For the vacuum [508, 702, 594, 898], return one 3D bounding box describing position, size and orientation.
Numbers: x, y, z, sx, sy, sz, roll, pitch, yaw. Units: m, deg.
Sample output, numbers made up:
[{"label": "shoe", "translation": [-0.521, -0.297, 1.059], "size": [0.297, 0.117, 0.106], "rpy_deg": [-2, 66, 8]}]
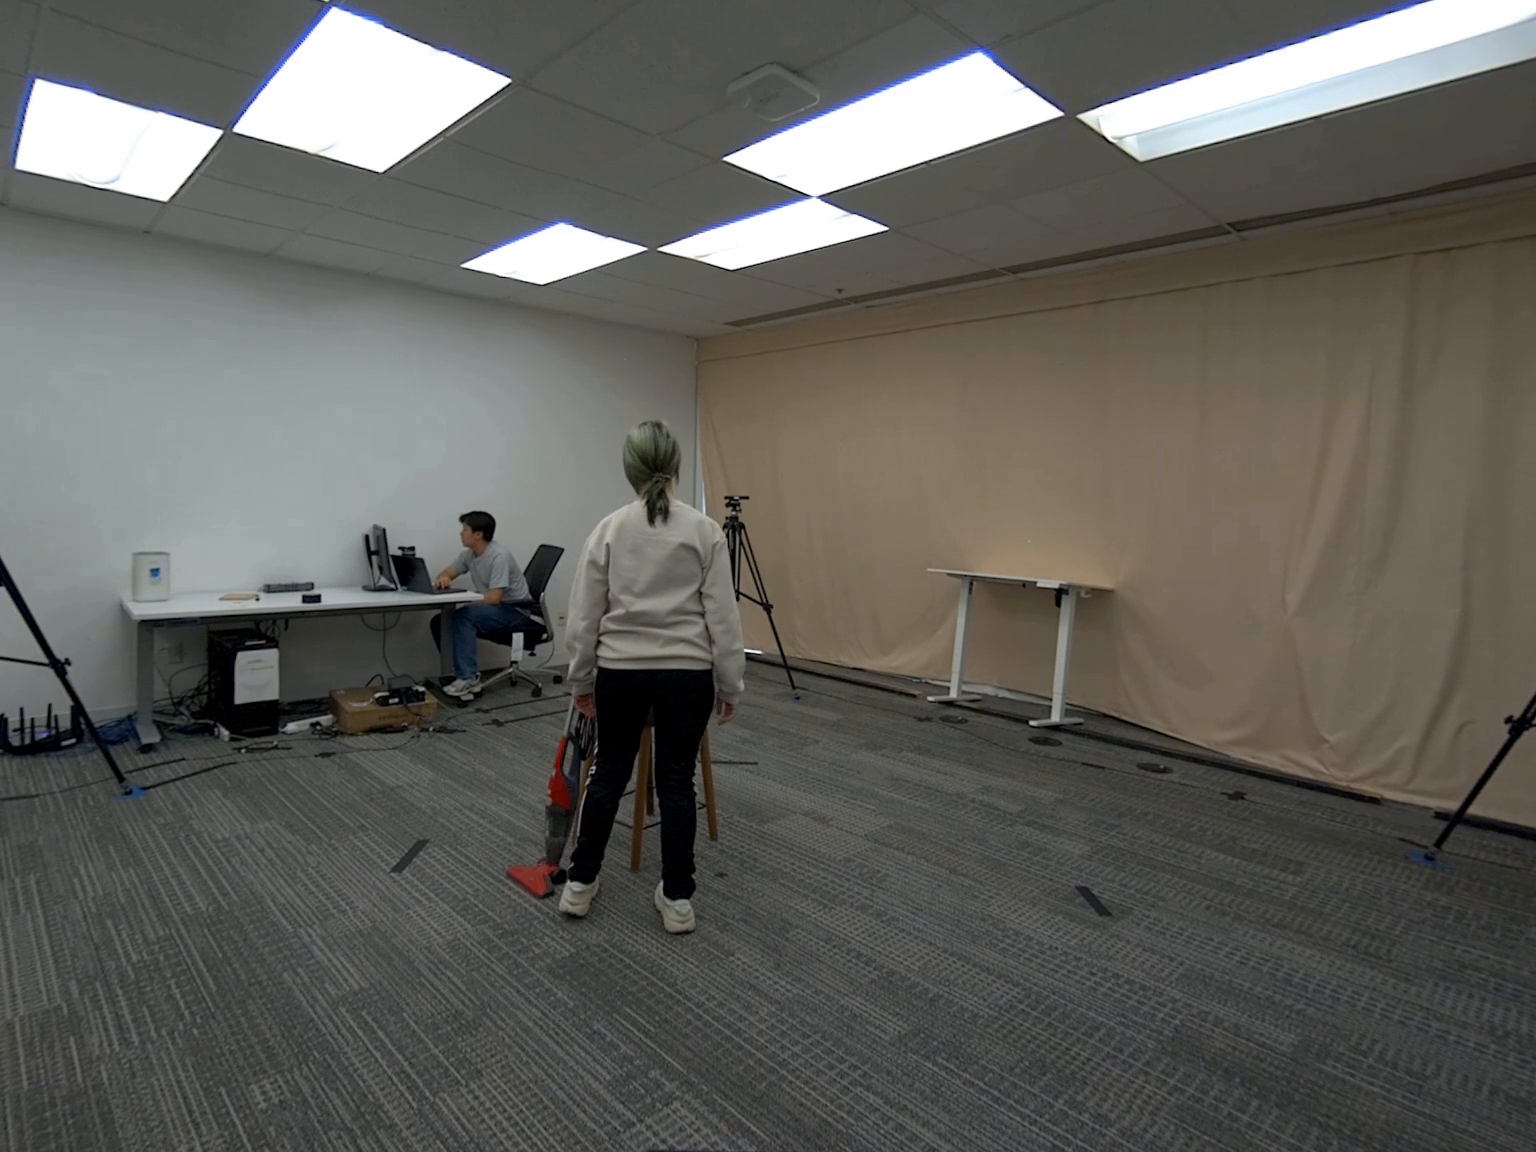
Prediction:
[{"label": "vacuum", "translation": [-0.734, 0.595, 3.087], "size": [0.259, 1.055, 0.140], "rpy_deg": [2, -11, 40]}]
